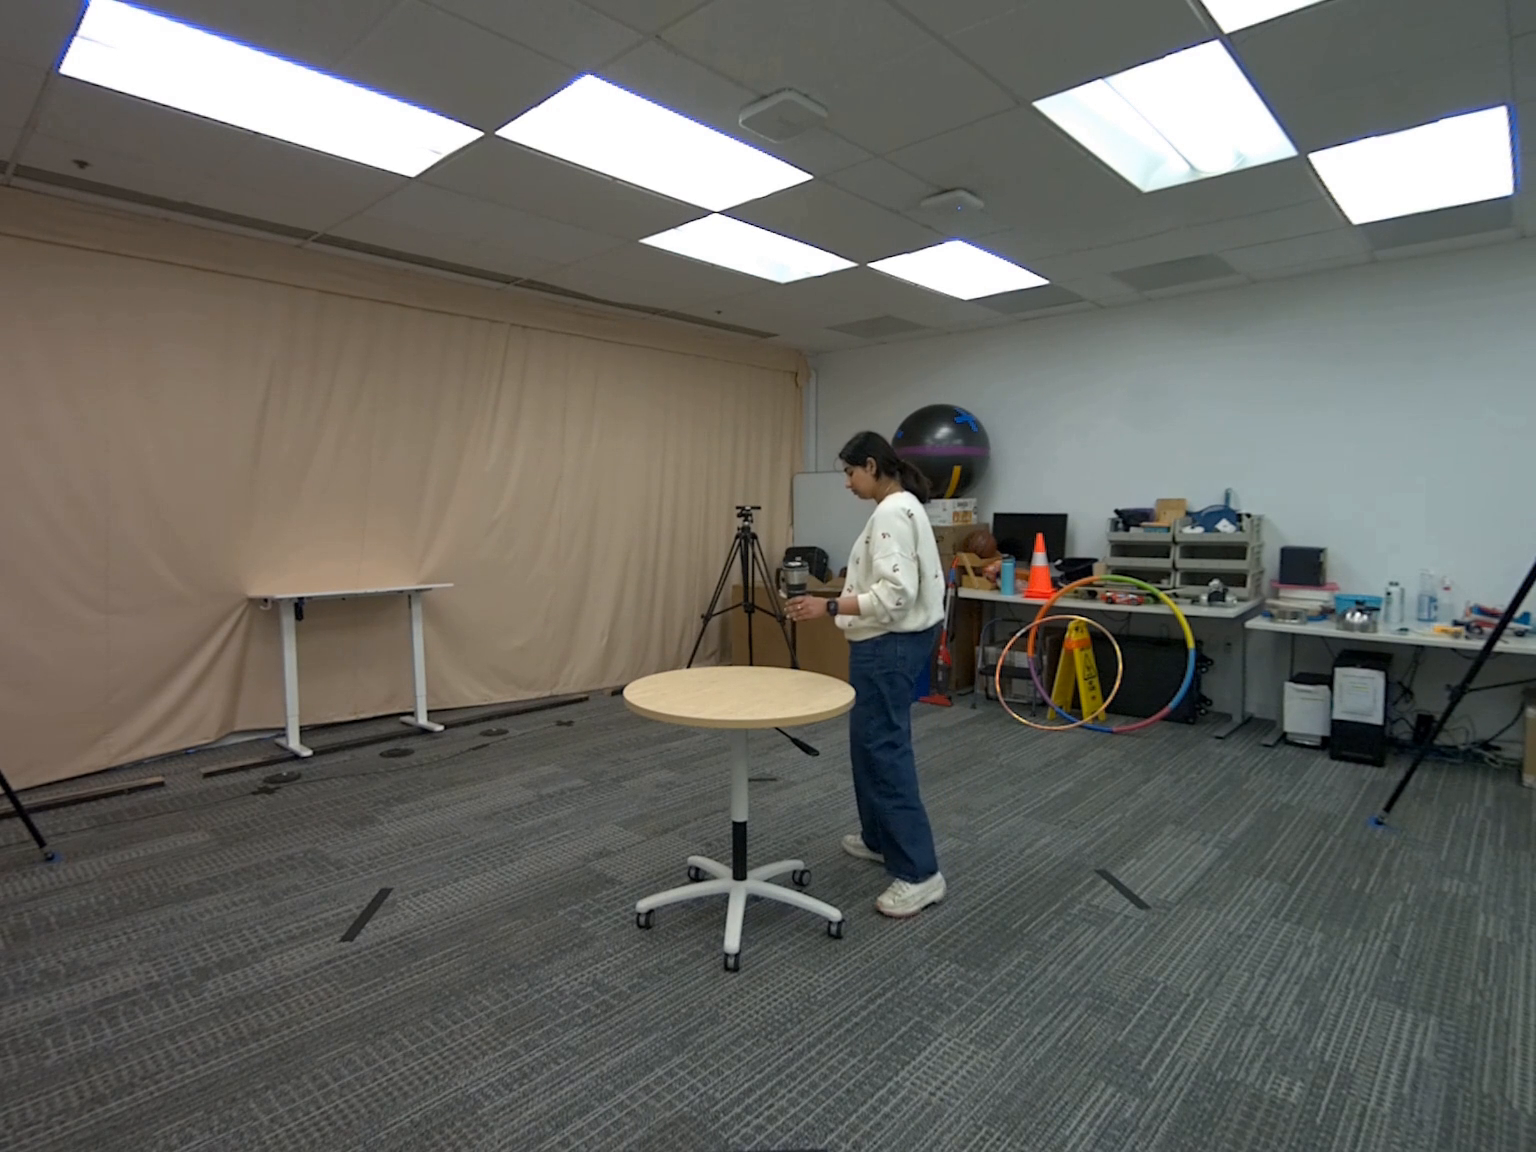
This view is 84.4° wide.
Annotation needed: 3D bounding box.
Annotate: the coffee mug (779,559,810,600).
[{"bbox_3d":[0.095,0.054,3.008,0.126,0.201,0.085,7,13,39],"label":"coffee mug"}]
